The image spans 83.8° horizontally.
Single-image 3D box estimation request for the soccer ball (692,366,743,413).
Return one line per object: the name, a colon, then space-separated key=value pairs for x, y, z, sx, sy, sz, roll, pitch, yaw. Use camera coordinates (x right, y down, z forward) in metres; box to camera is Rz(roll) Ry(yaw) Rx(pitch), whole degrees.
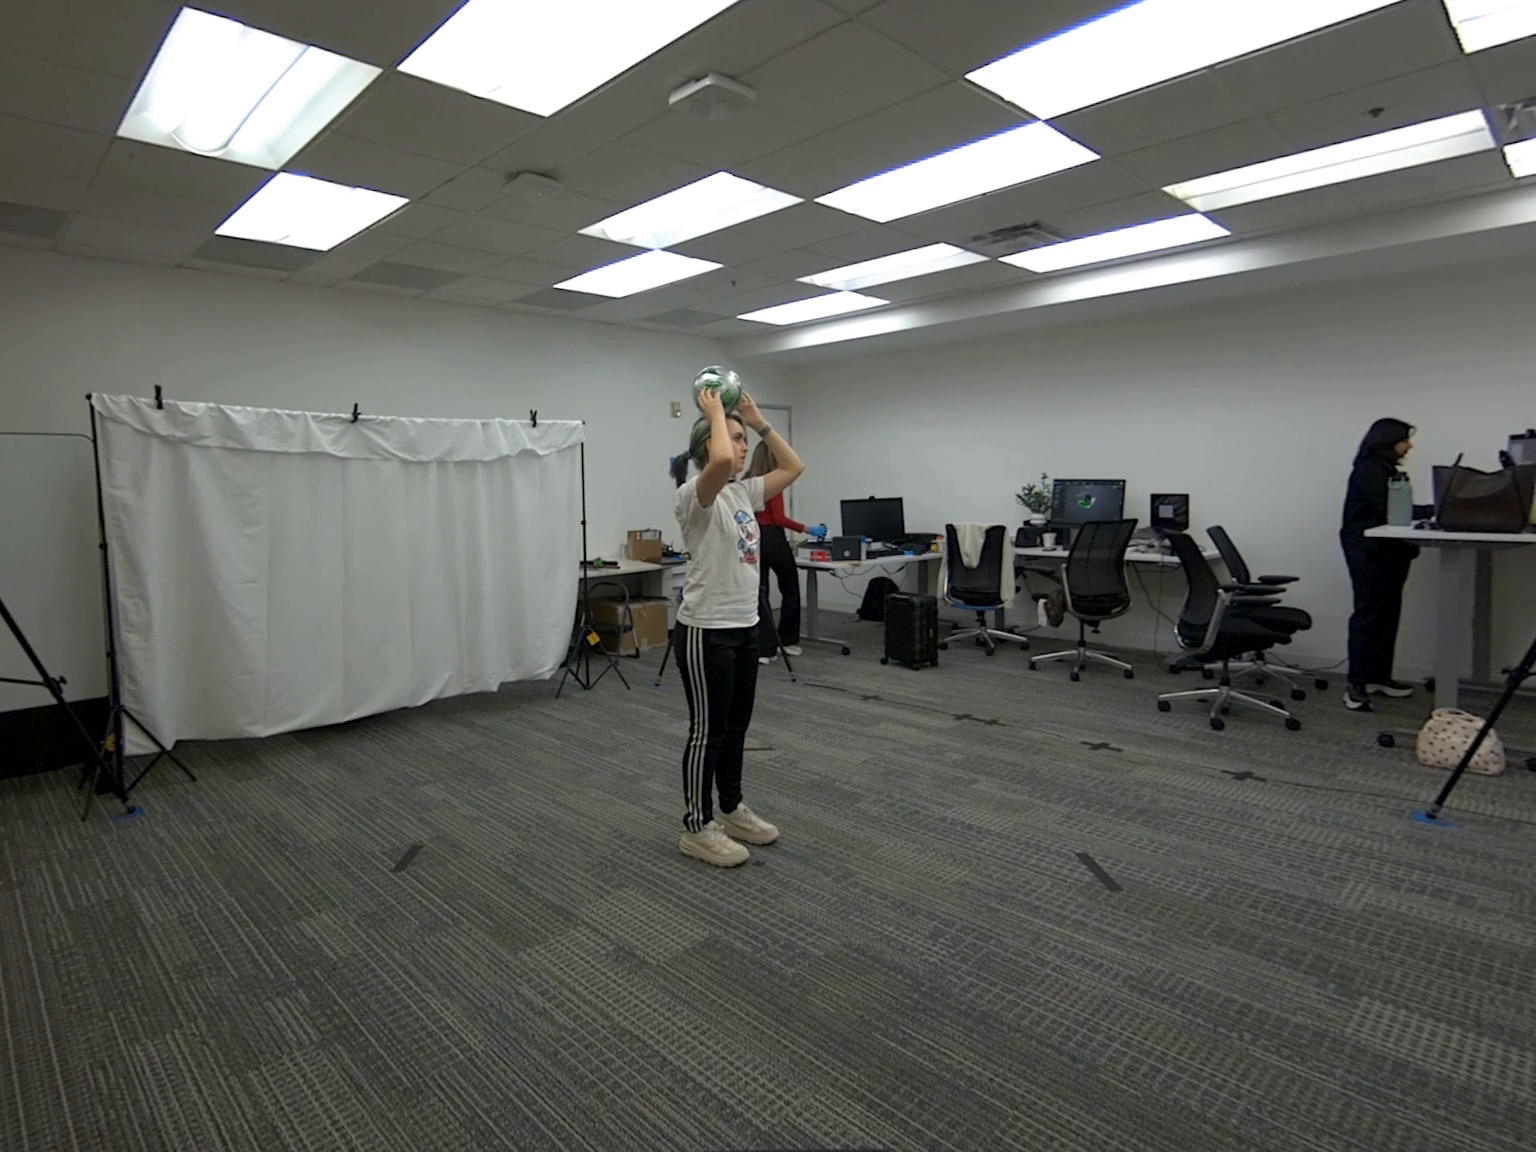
soccer ball: x=-0.190 y=-0.682 z=3.162 sx=0.187 sy=0.187 sz=0.188 roll=-1 pitch=5 yaw=-2
